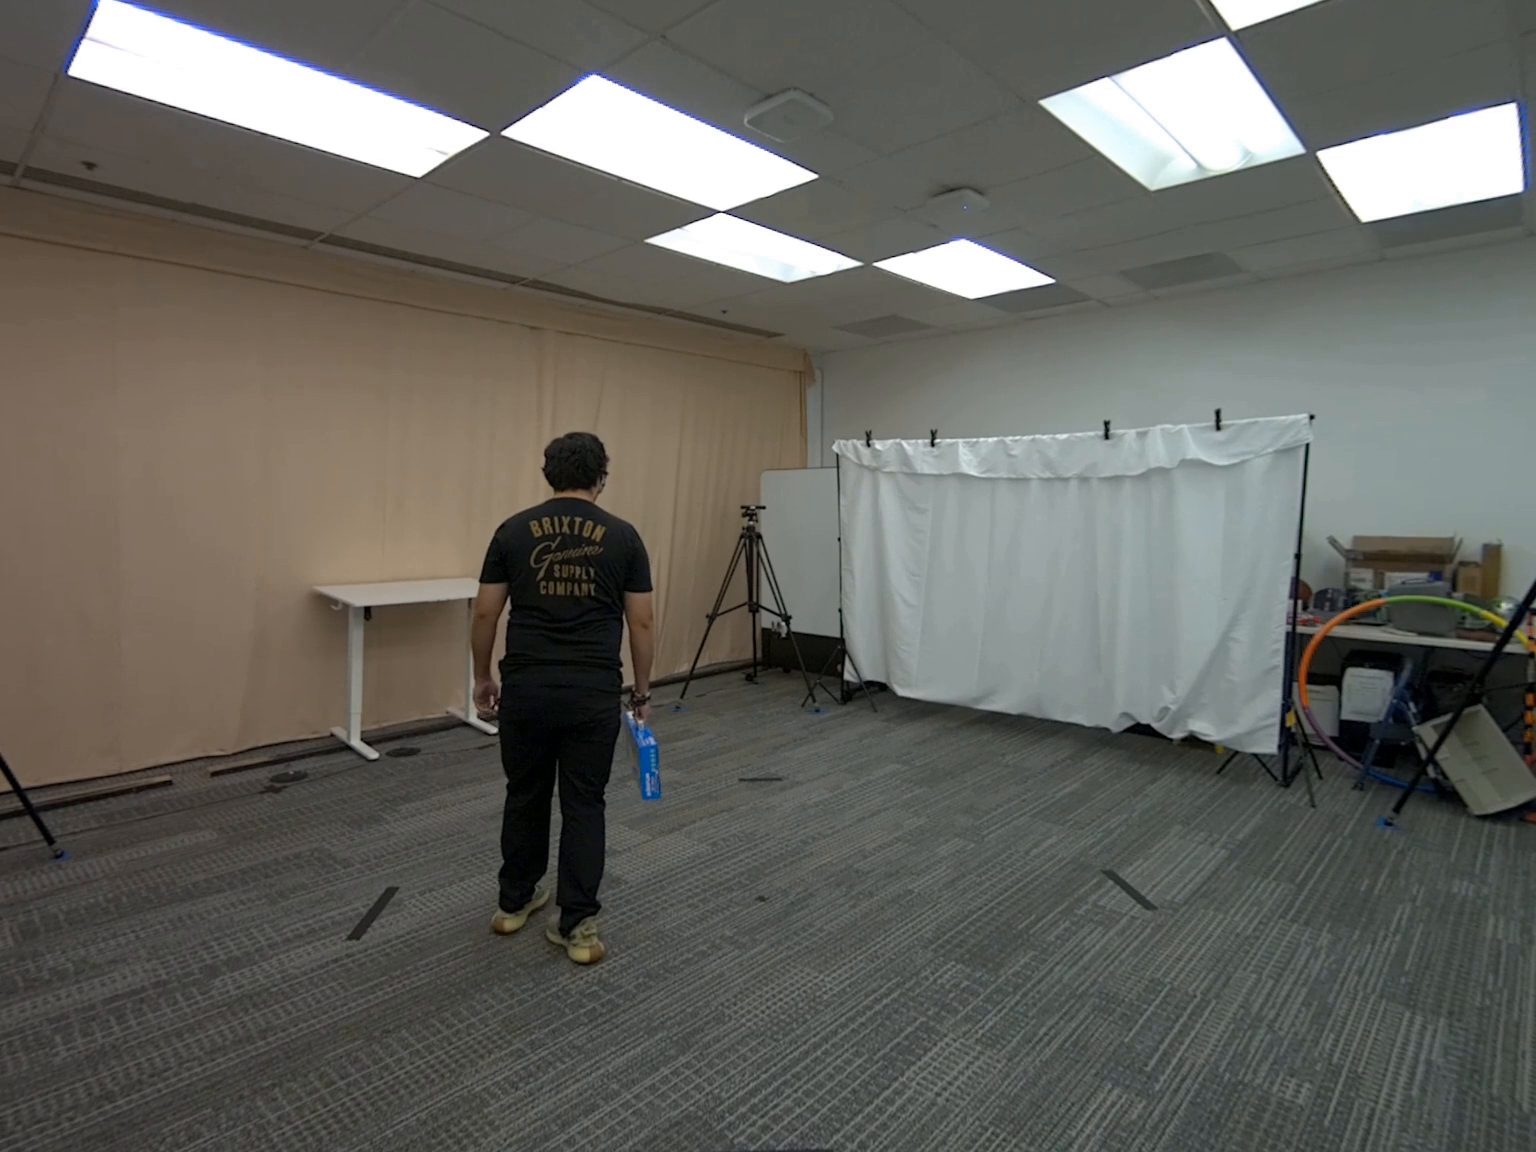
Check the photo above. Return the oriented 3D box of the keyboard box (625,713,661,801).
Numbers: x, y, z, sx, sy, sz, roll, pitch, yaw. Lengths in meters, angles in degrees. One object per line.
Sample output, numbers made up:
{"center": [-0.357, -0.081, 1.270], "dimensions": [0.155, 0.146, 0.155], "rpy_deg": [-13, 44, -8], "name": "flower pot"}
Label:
{"center": [-0.427, 0.588, 2.818], "dimensions": [0.058, 0.175, 0.444], "rpy_deg": [-3, 7, -15], "name": "keyboard box"}
